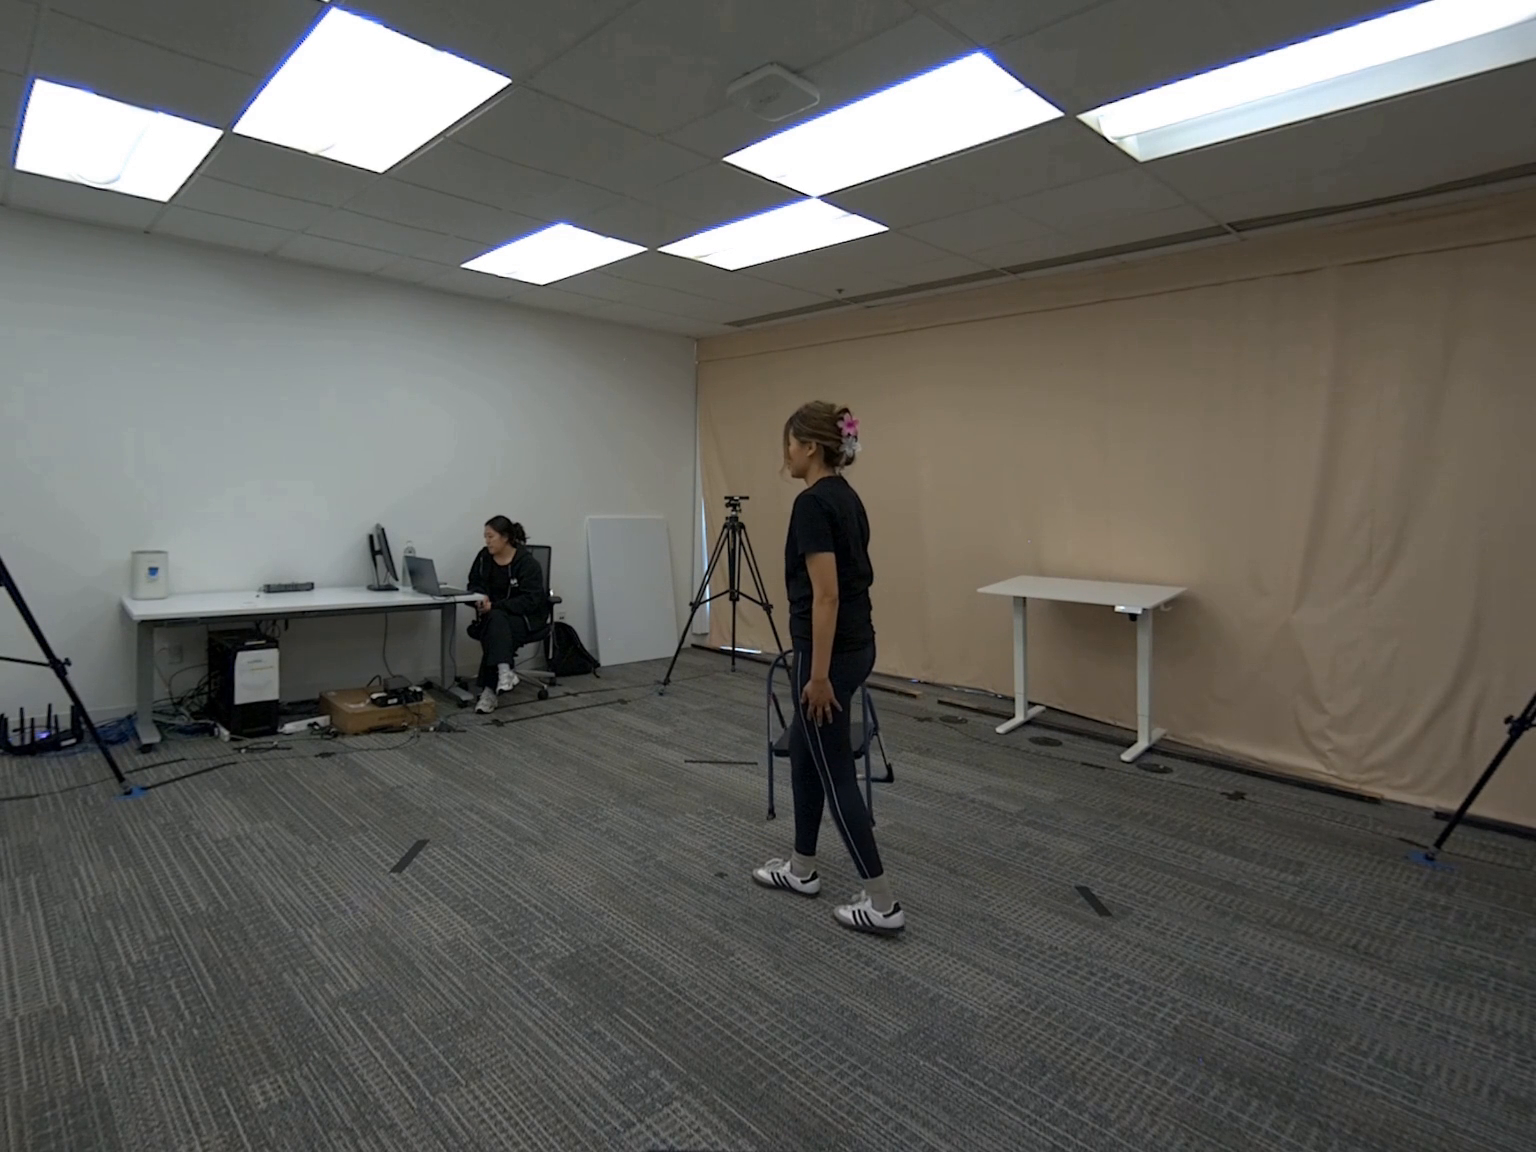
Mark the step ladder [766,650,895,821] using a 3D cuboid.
[{"bbox_3d":[0.192,0.590,3.229,0.438,0.600,0.347,-4,14,26],"label":"step ladder"}]
